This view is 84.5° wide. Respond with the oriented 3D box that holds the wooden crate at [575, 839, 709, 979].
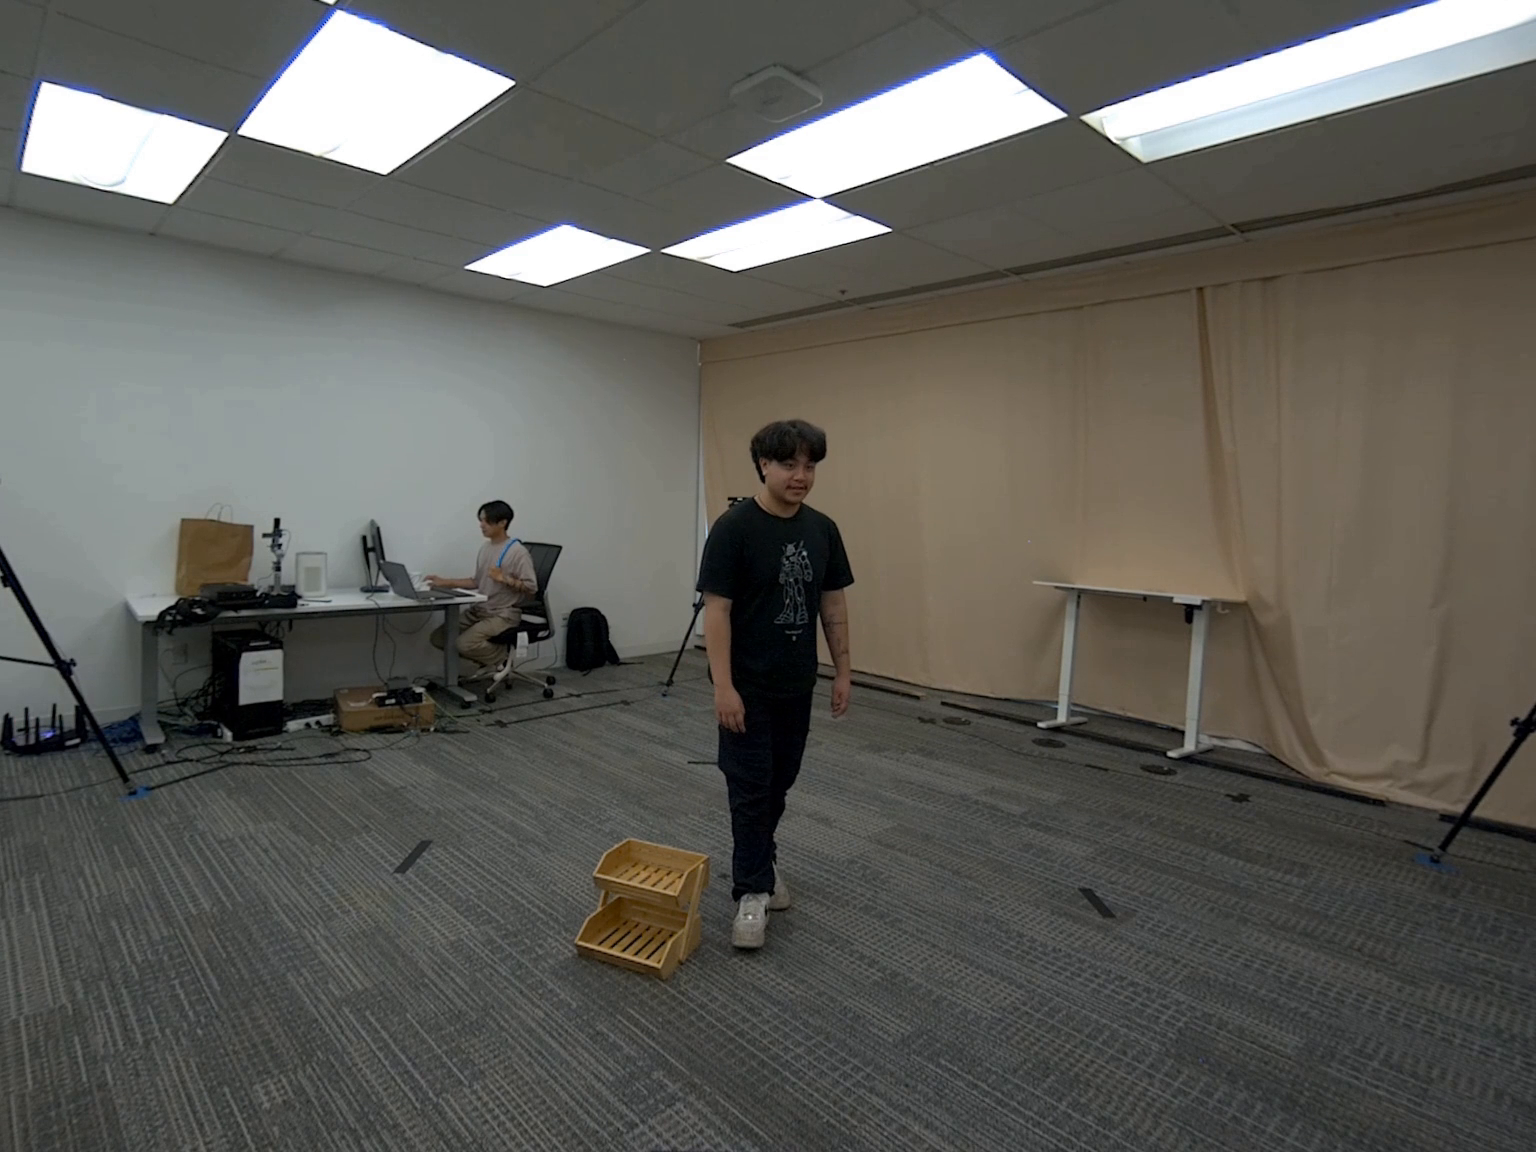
[{"bbox_3d":[-0.392,1.019,2.588,0.330,0.273,0.297,3,4,23],"label":"wooden crate"}]
